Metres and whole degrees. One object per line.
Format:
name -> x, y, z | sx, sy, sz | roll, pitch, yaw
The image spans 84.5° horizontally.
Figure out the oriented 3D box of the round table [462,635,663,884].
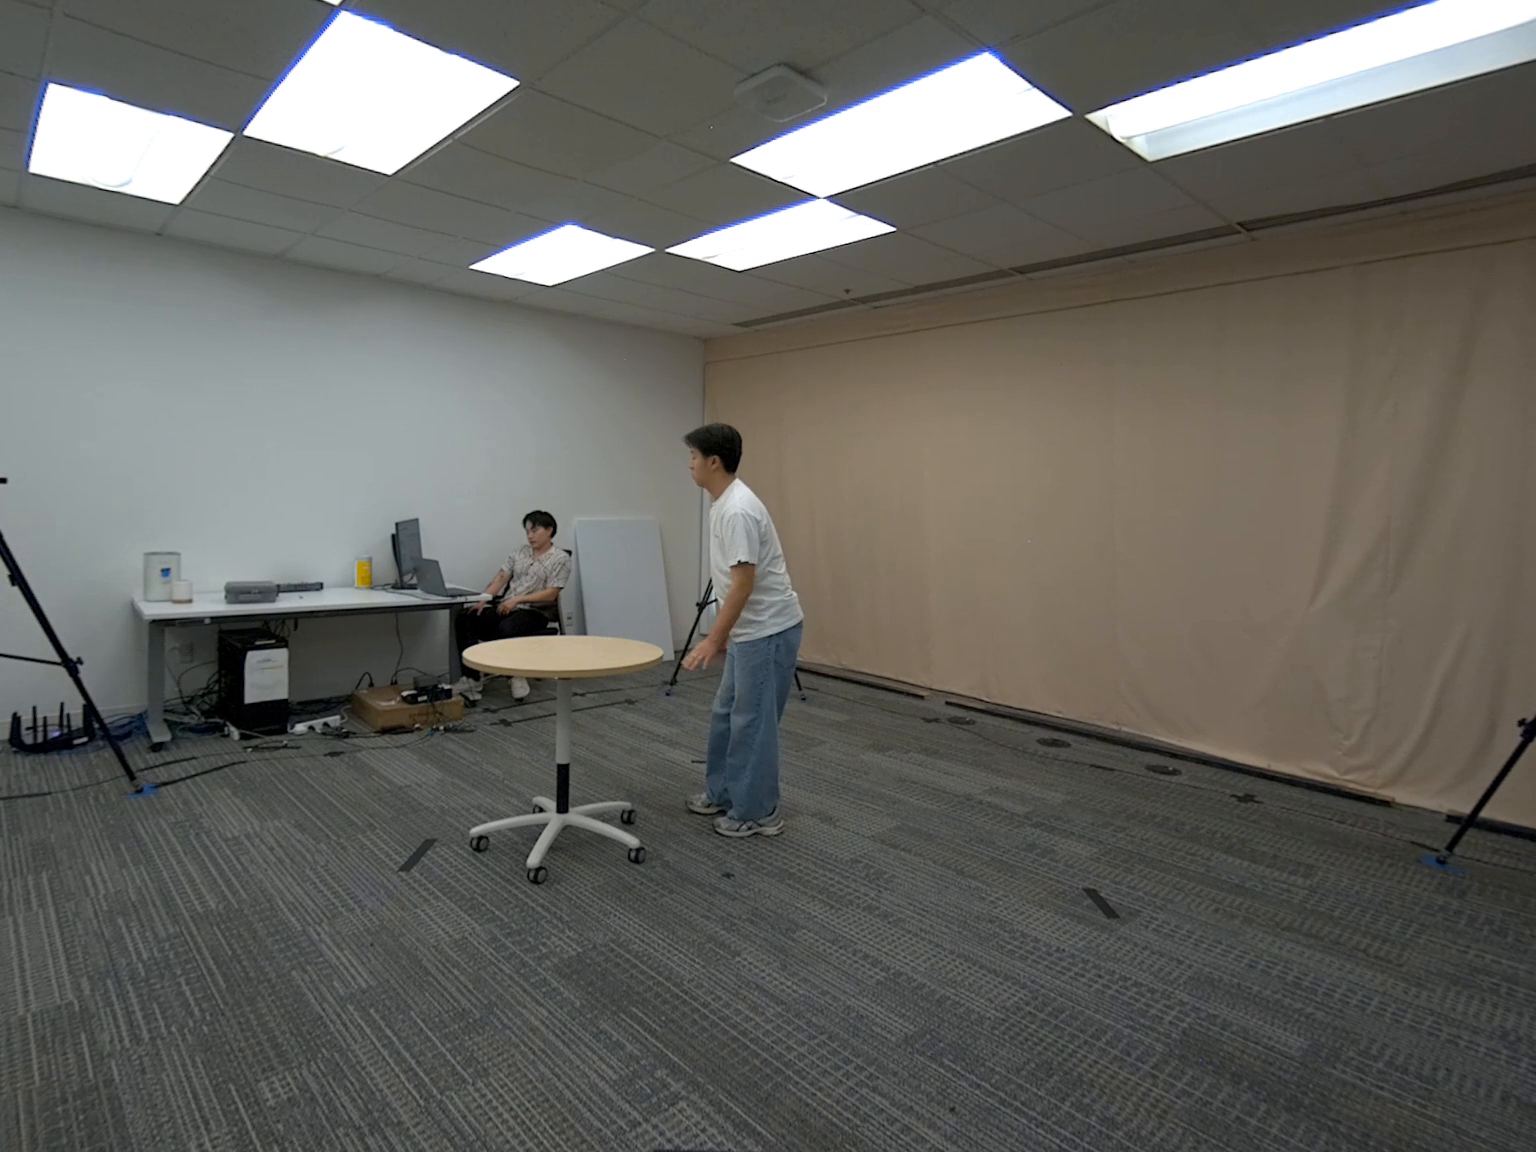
round table -> -0.802, 0.686, 3.306 | 0.763, 0.792, 0.766 | 1, 4, -1
